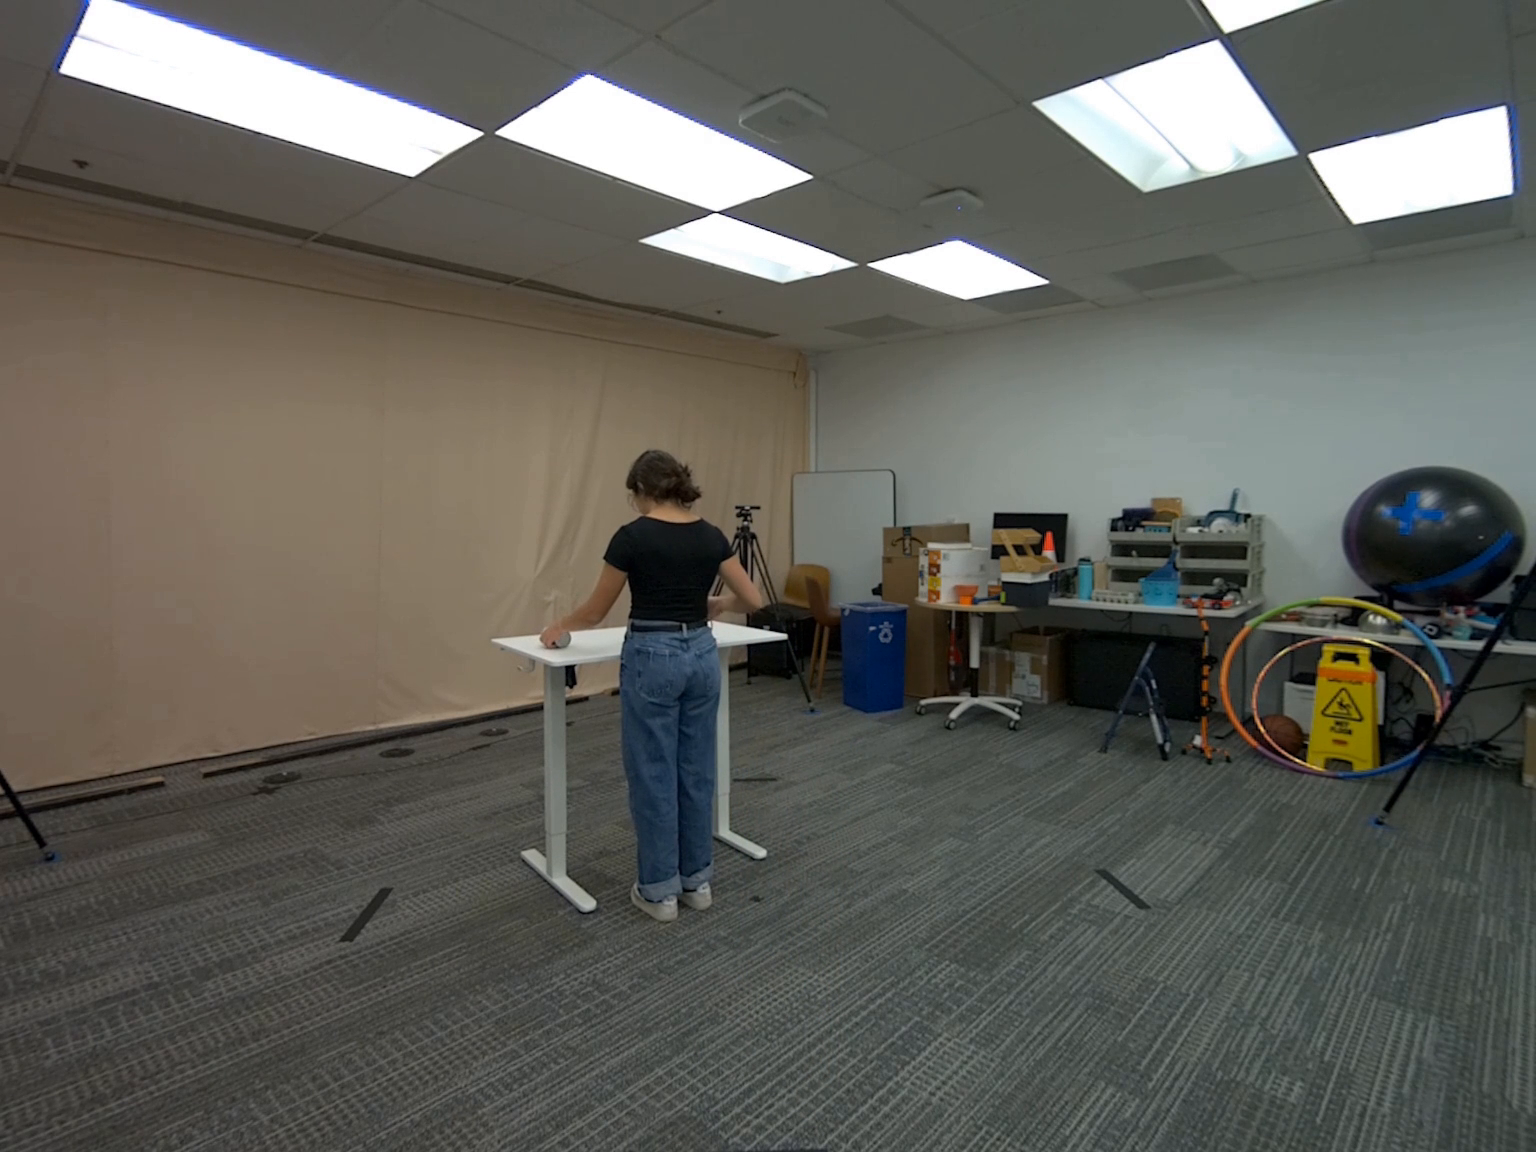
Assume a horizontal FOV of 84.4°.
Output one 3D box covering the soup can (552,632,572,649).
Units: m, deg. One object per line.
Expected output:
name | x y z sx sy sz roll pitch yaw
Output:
soup can | -0.784 0.226 3.099 0.065 0.067 0.125 -3 5 -42
